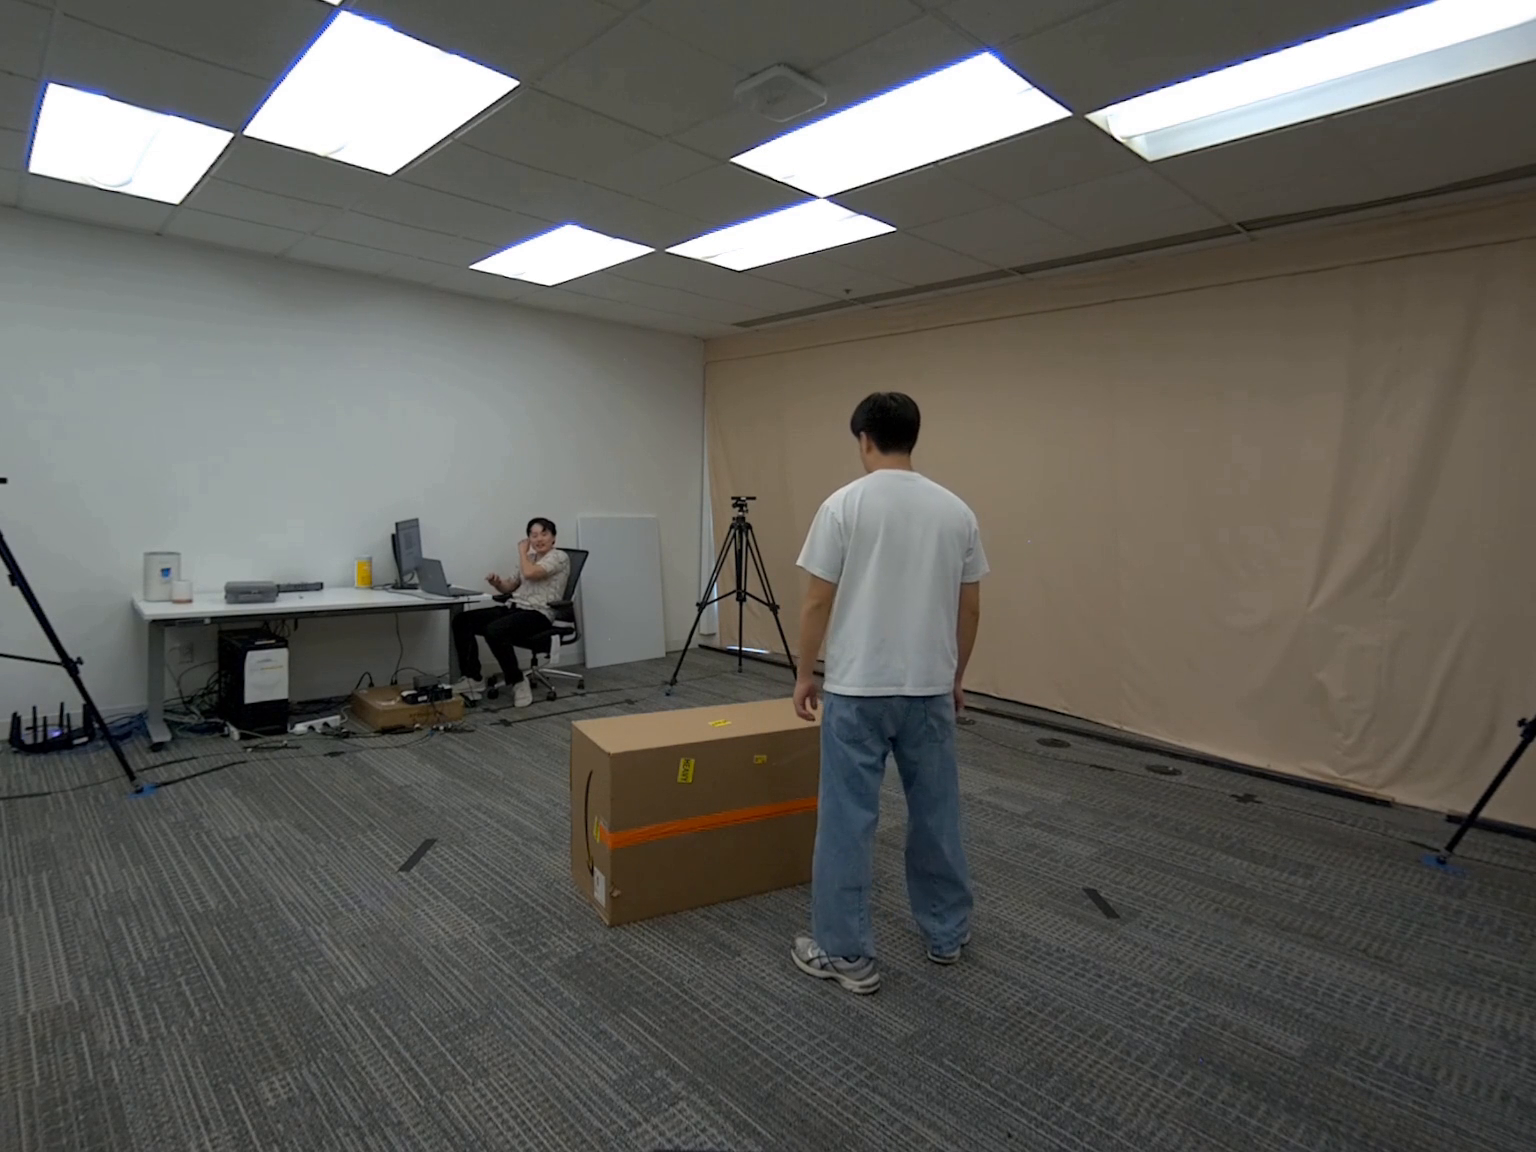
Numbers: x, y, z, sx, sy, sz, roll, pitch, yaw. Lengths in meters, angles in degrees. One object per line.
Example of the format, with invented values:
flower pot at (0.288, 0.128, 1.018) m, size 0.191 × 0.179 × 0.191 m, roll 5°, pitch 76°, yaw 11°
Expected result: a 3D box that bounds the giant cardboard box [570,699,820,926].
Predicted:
giant cardboard box at (-0.175, 0.817, 3.106) m, size 1.006 × 0.576 × 0.435 m, roll -1°, pitch 4°, yaw -28°
